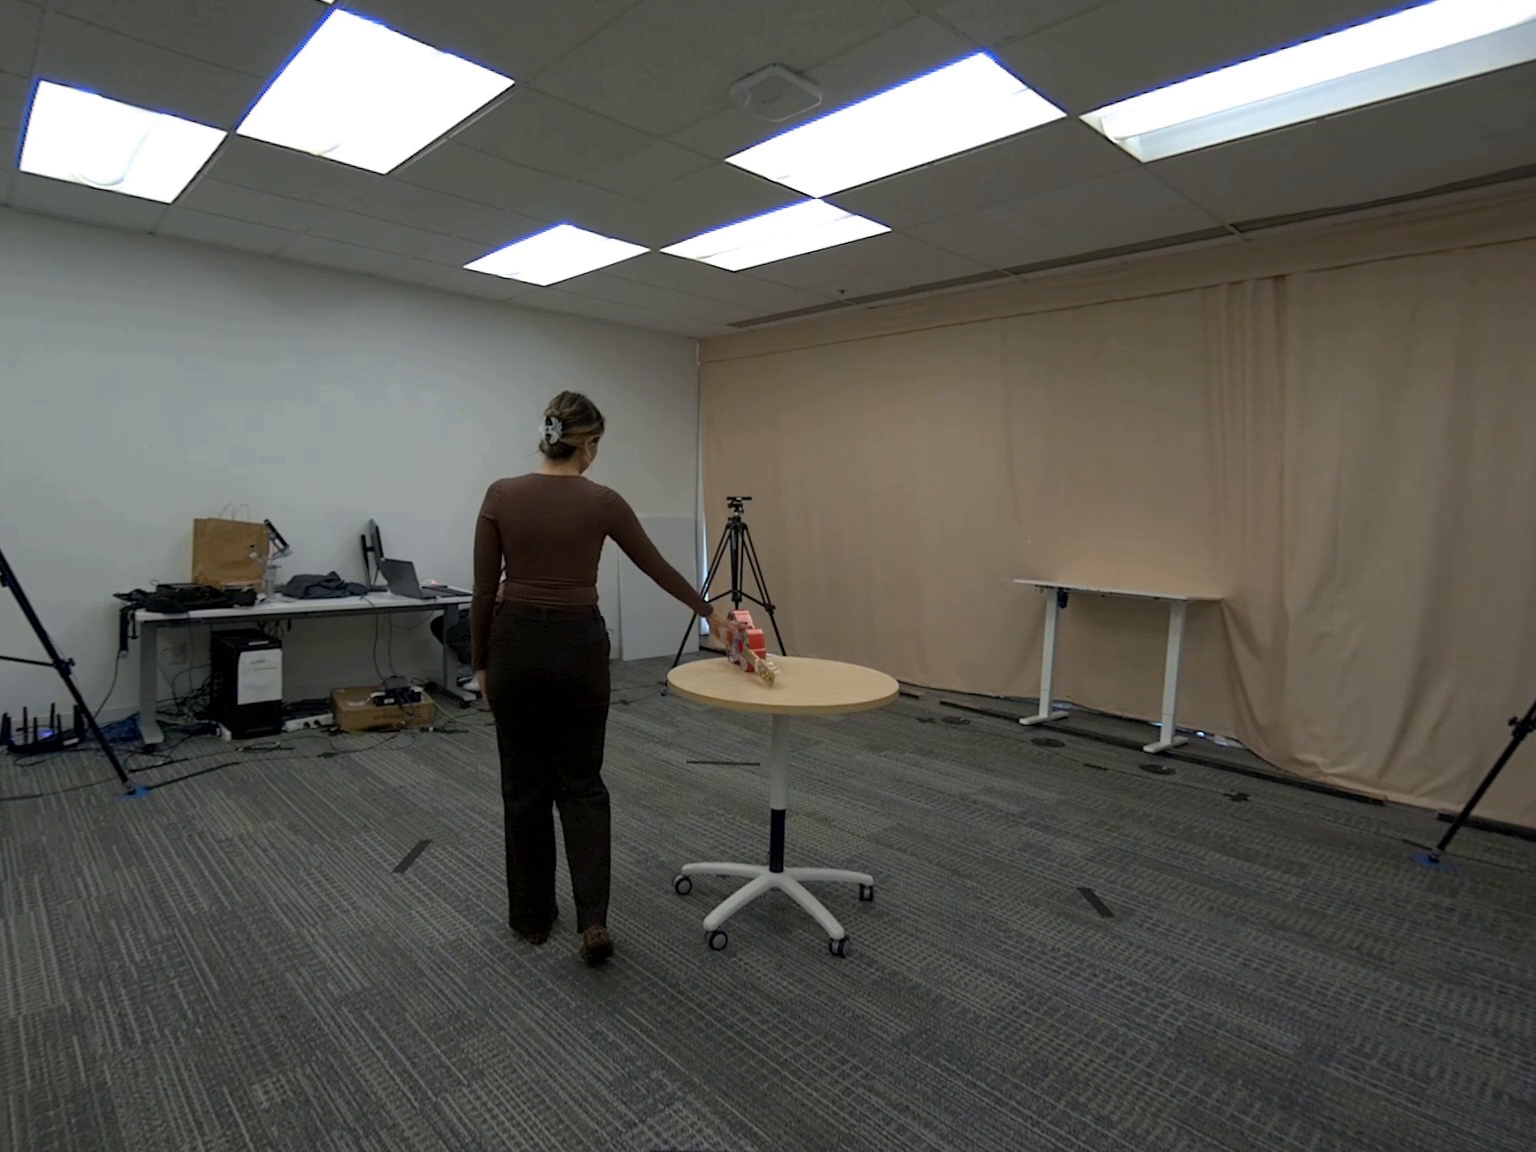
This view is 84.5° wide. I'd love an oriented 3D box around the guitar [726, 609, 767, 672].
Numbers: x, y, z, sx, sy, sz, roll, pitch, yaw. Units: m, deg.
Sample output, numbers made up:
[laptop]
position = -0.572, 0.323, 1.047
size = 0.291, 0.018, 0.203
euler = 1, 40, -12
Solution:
[guitar]
position = -0.052, 0.290, 2.861
size = 0.070, 0.190, 0.511
euler = -3, 23, -18
